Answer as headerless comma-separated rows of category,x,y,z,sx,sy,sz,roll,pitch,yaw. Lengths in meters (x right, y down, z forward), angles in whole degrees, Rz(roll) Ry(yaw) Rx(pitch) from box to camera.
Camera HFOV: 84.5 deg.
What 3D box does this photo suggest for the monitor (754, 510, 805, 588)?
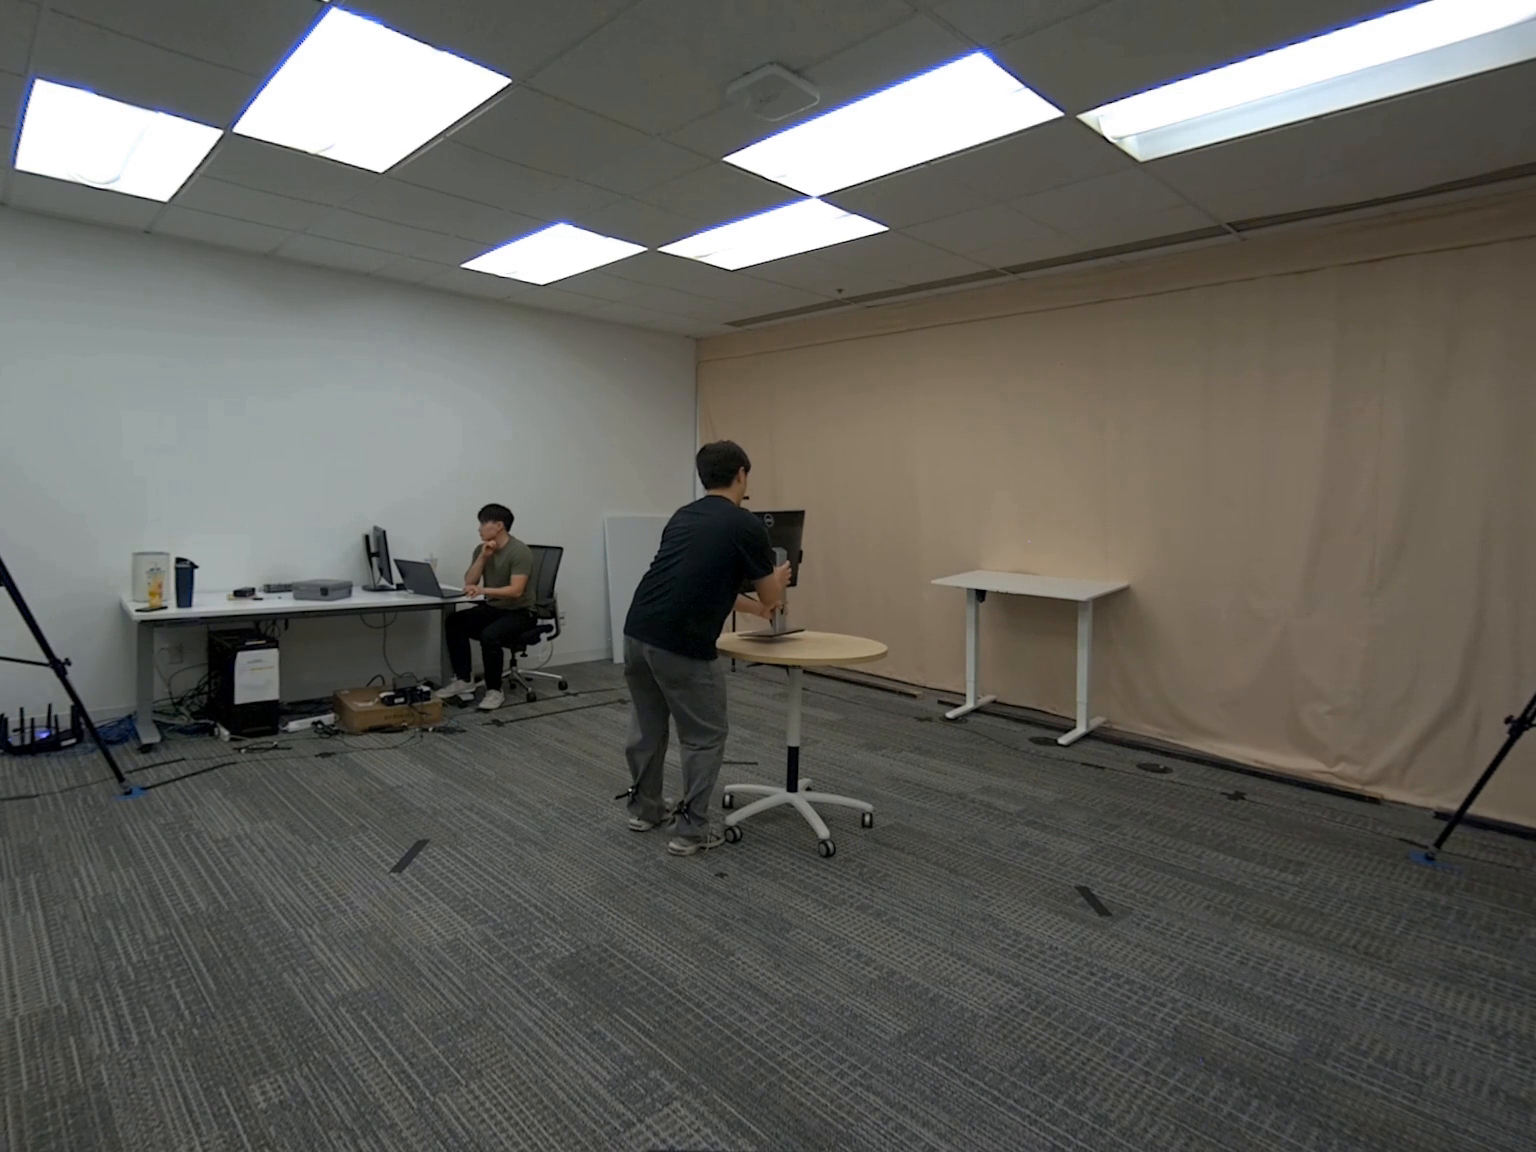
monitor,-0.010,-0.002,3.676,0.227,0.567,0.549,-7,-2,43
